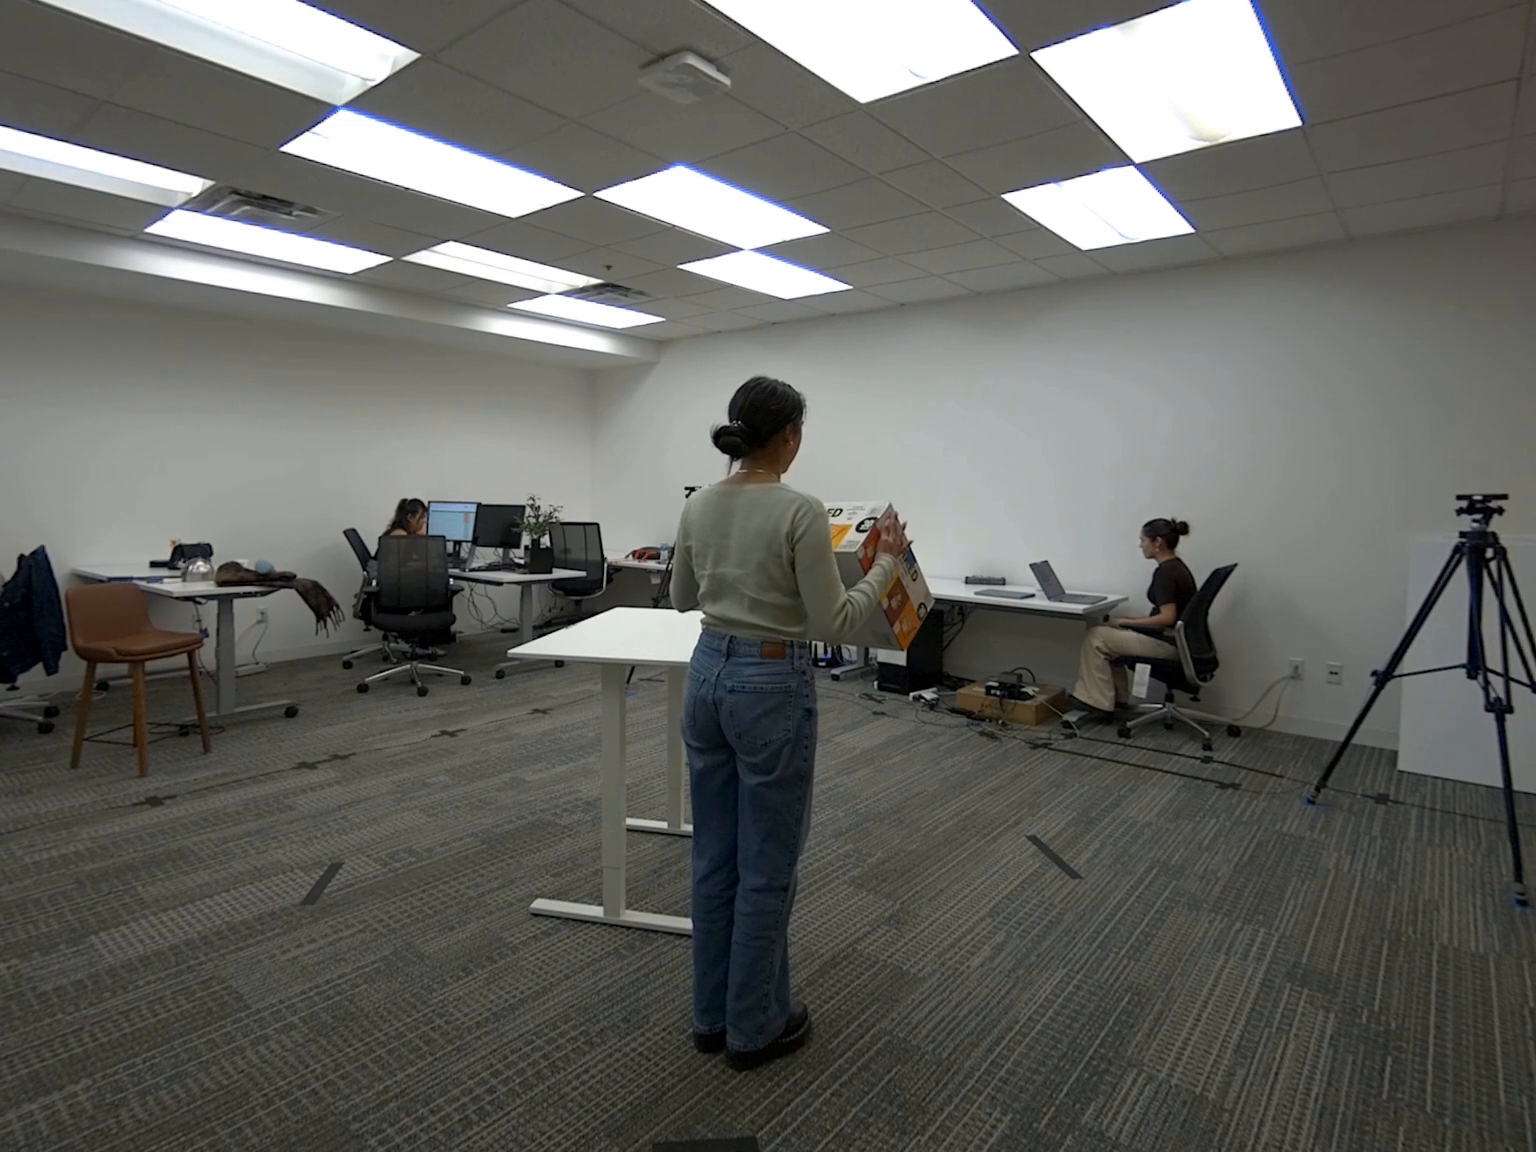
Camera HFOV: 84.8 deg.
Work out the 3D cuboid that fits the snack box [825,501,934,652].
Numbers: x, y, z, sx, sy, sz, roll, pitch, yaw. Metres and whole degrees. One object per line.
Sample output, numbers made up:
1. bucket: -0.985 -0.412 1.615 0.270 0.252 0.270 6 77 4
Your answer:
1. snack box: 0.170 -0.002 2.321 0.418 0.329 0.206 2 40 43
